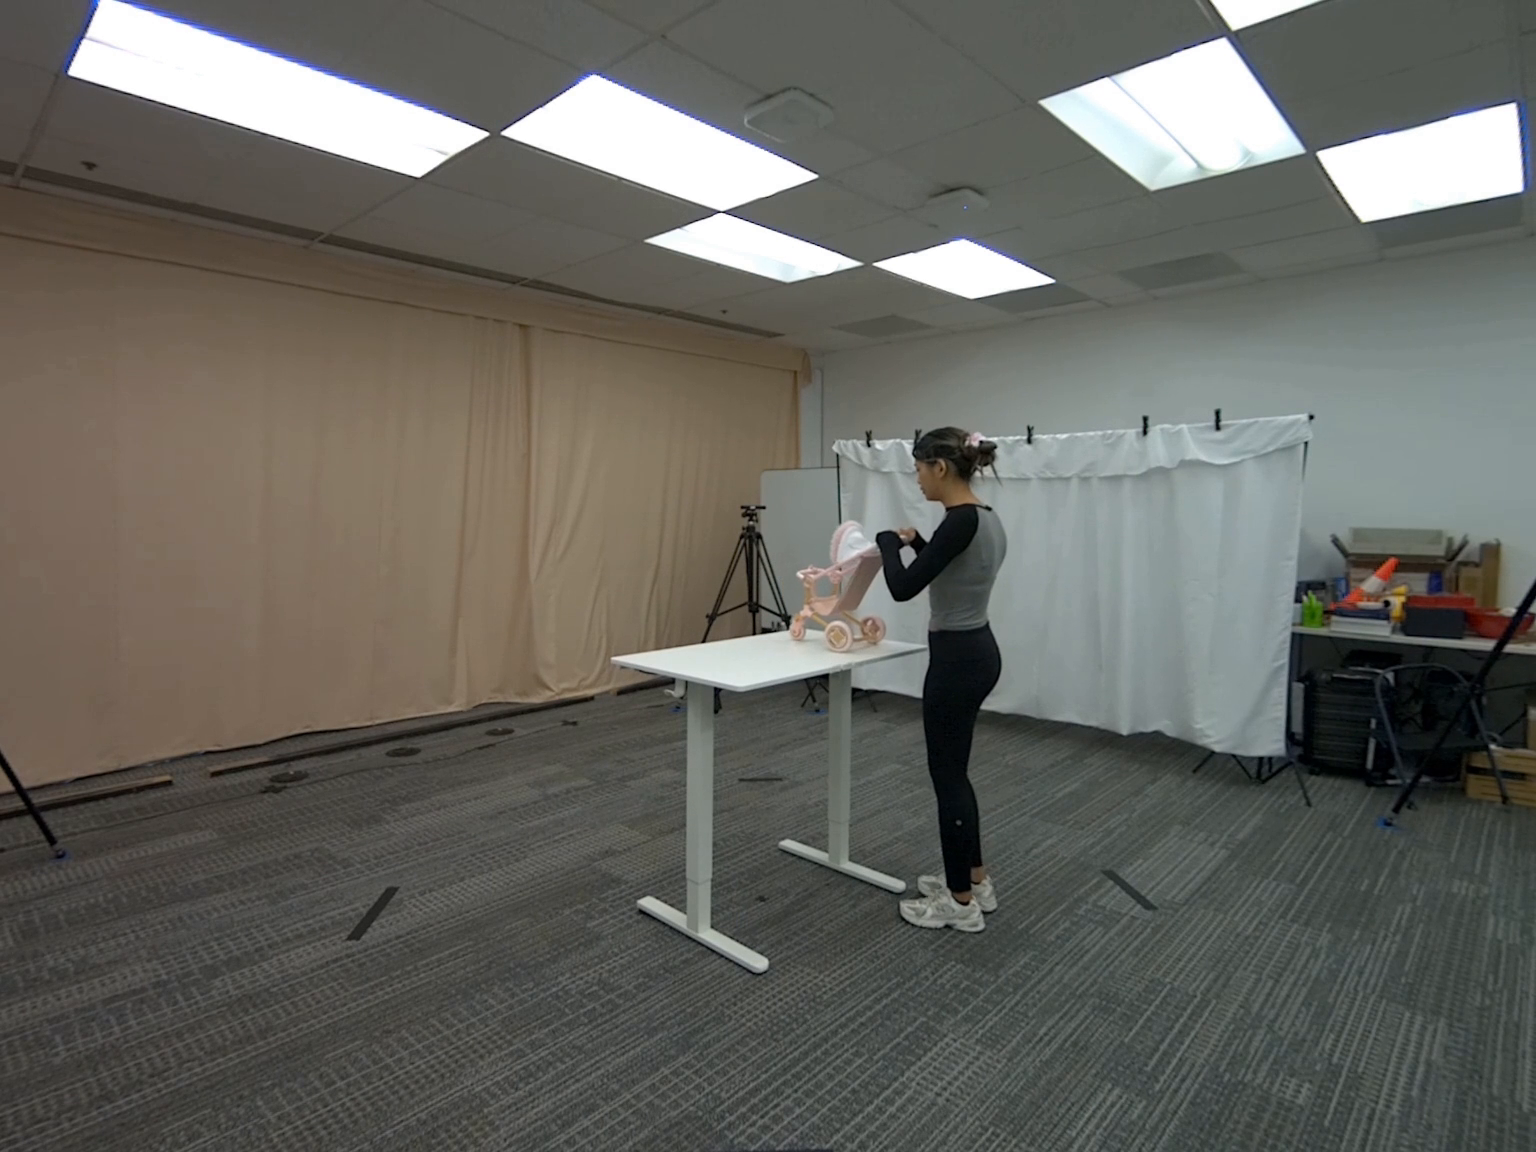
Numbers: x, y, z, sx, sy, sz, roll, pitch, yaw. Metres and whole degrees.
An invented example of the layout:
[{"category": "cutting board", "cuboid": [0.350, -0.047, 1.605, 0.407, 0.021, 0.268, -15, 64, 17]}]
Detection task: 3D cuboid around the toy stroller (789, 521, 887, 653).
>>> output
[{"category": "toy stroller", "cuboid": [0.273, 0.036, 3.051, 0.354, 0.532, 0.273, 26, 19, 38]}]
